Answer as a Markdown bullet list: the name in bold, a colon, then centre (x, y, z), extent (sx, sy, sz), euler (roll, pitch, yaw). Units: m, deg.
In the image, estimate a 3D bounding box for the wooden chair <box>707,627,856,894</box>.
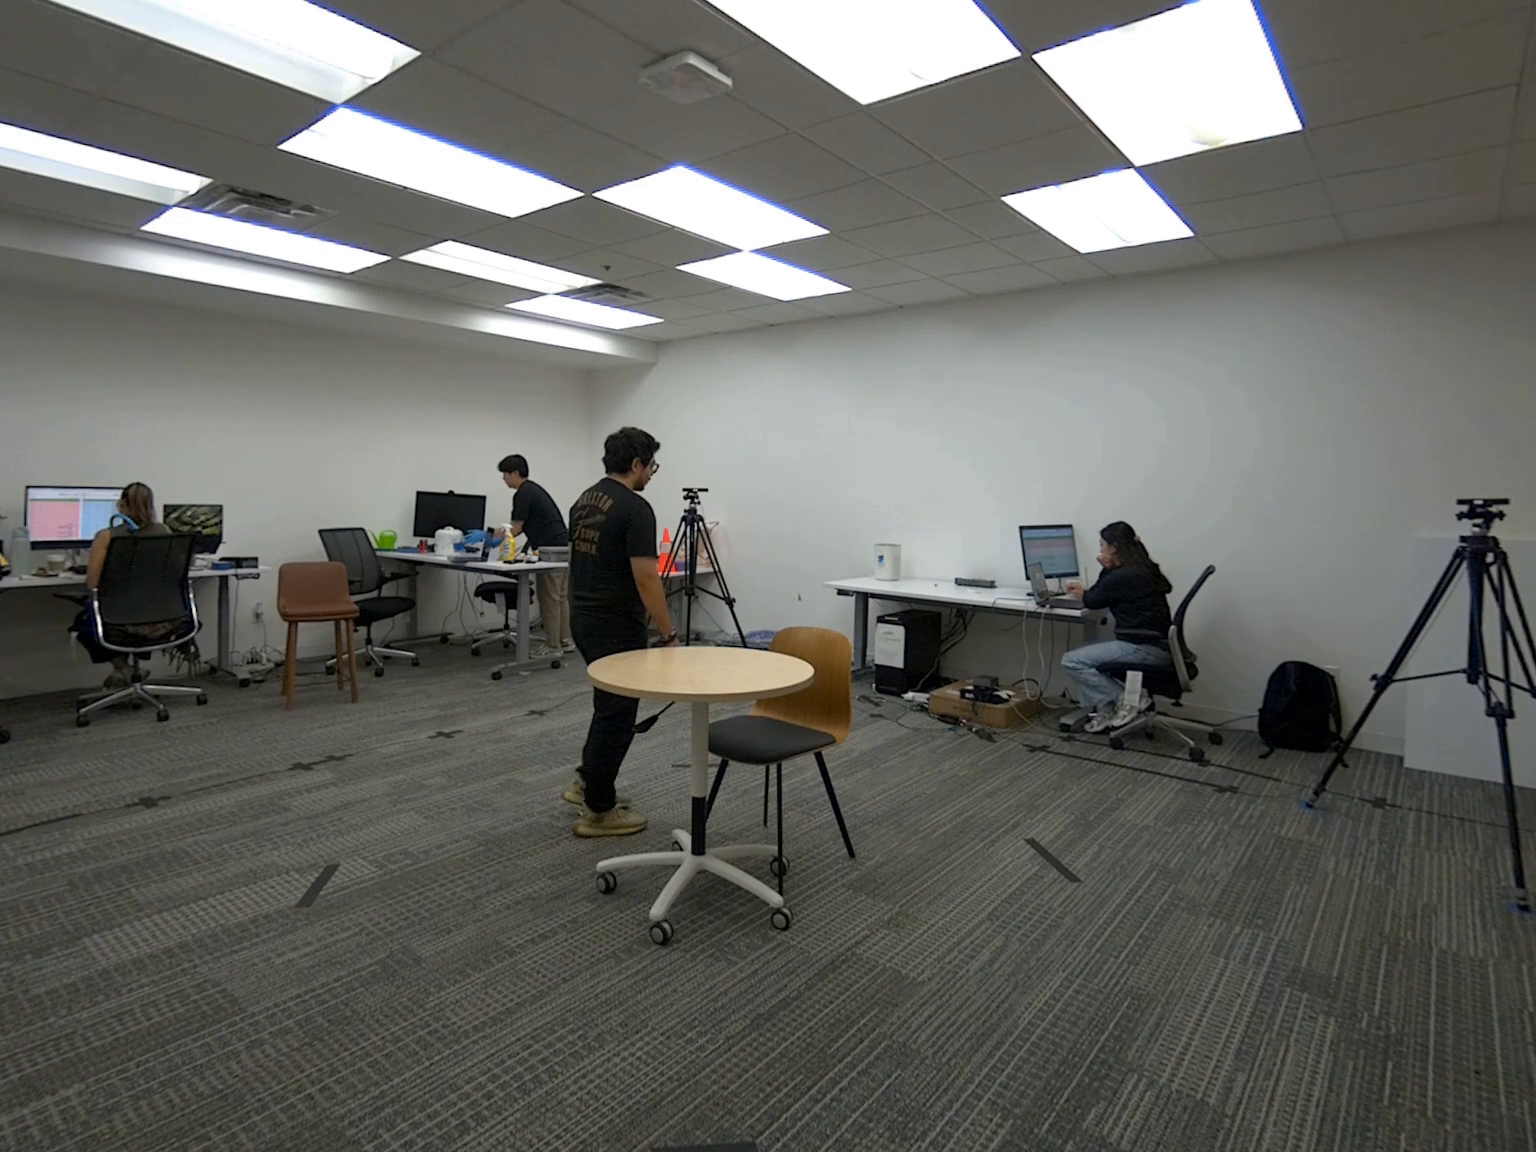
- **wooden chair**: centre (0.006, 0.634, 3.189), extent (0.495, 0.877, 0.505), euler (5, 1, 42)
